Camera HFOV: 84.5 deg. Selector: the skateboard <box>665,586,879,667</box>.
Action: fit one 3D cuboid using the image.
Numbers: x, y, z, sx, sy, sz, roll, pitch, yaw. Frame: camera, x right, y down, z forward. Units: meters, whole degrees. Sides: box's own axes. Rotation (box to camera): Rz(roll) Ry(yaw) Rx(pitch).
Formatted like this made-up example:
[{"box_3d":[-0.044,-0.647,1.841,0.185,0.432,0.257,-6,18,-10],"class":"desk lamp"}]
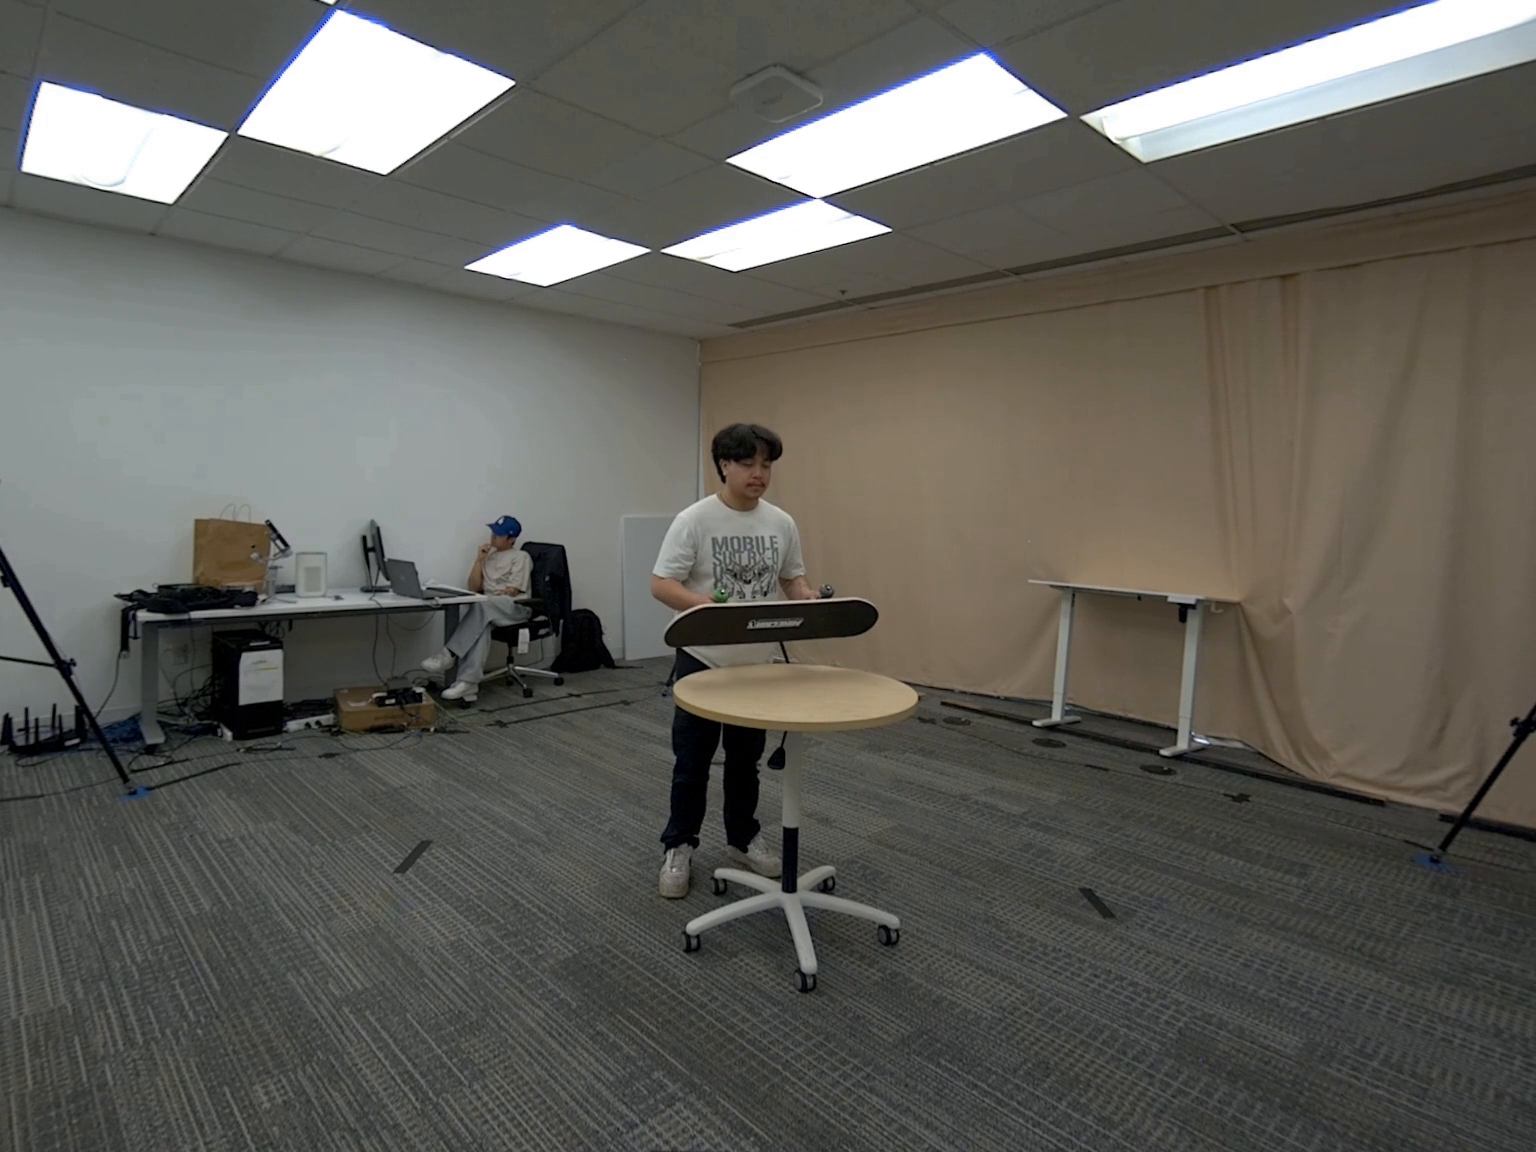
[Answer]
[{"box_3d":[0.006,0.141,2.795,0.771,0.191,0.114,-1,44,-26],"class":"skateboard"}]
